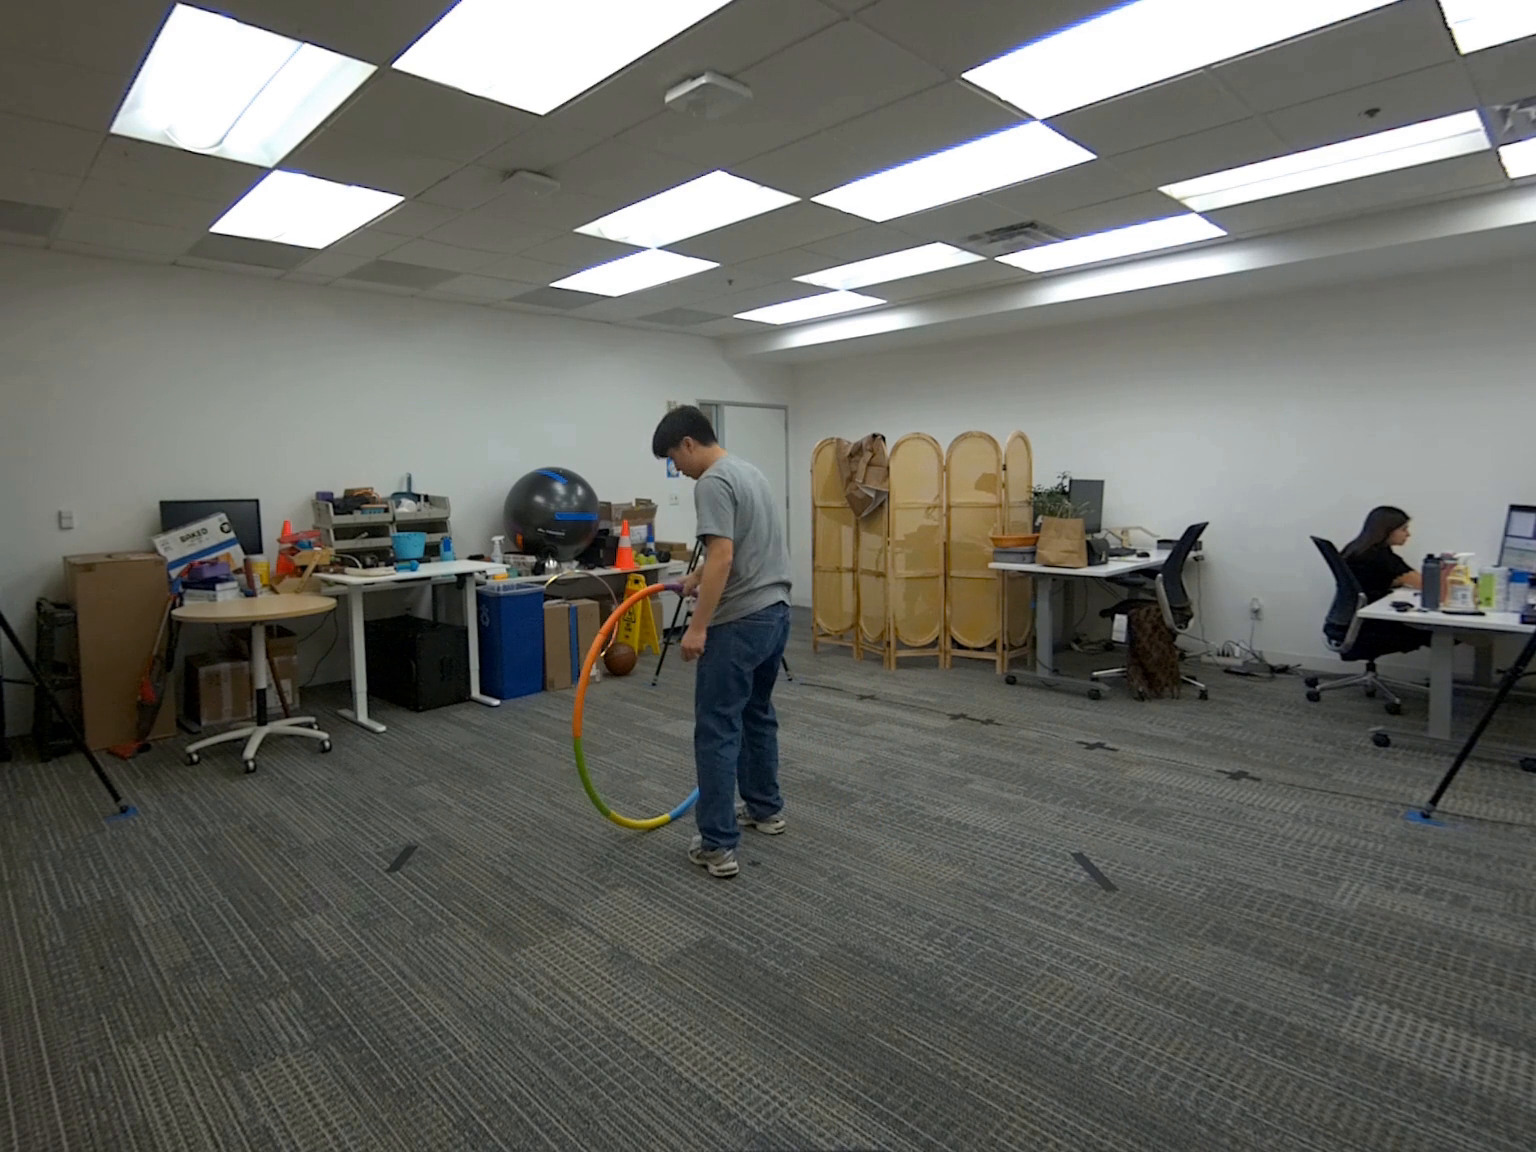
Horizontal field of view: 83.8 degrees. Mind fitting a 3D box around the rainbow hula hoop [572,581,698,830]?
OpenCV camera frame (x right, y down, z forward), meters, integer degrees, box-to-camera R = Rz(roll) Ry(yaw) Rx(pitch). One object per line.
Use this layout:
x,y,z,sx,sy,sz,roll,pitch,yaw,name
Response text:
-0.418,0.520,3.450,0.036,0.974,0.954,4,7,35,rainbow hula hoop
